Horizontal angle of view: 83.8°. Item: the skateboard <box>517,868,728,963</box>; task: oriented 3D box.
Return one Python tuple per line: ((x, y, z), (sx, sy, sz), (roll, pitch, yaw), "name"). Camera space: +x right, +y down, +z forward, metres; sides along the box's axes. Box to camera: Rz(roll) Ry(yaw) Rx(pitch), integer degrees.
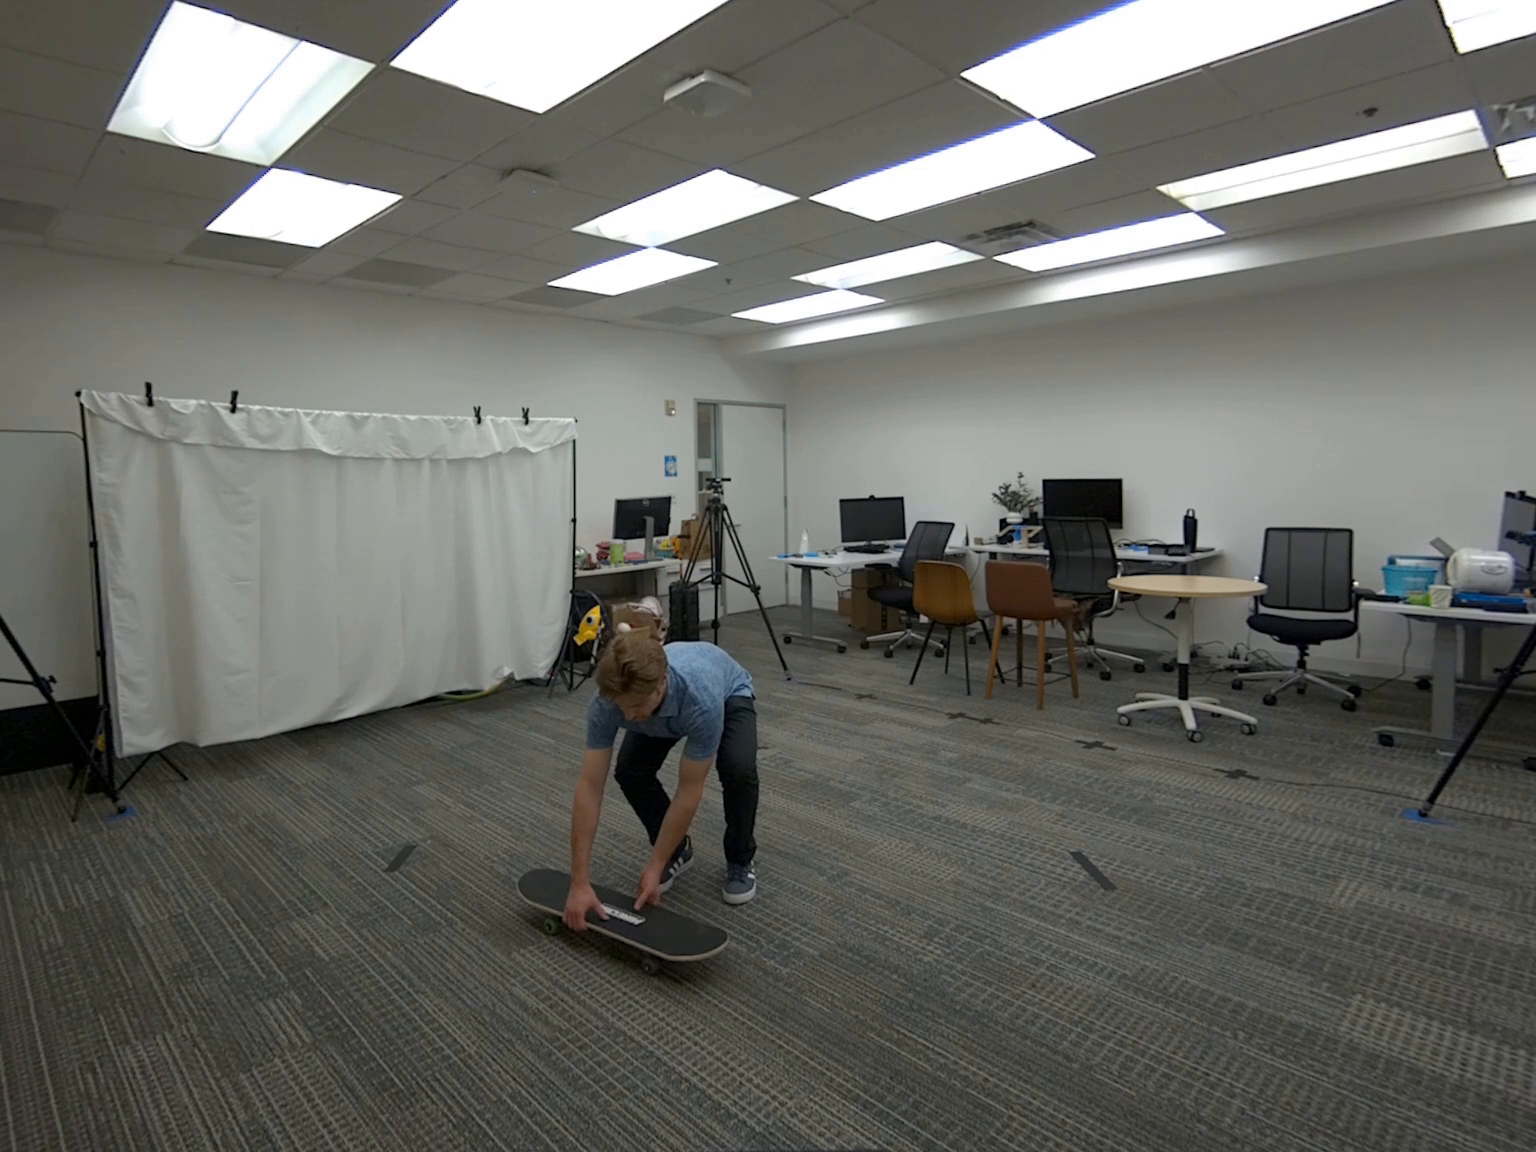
((-0.453, 1.048, 2.594), (0.807, 0.110, 0.189), (3, 9, 33), "skateboard")
